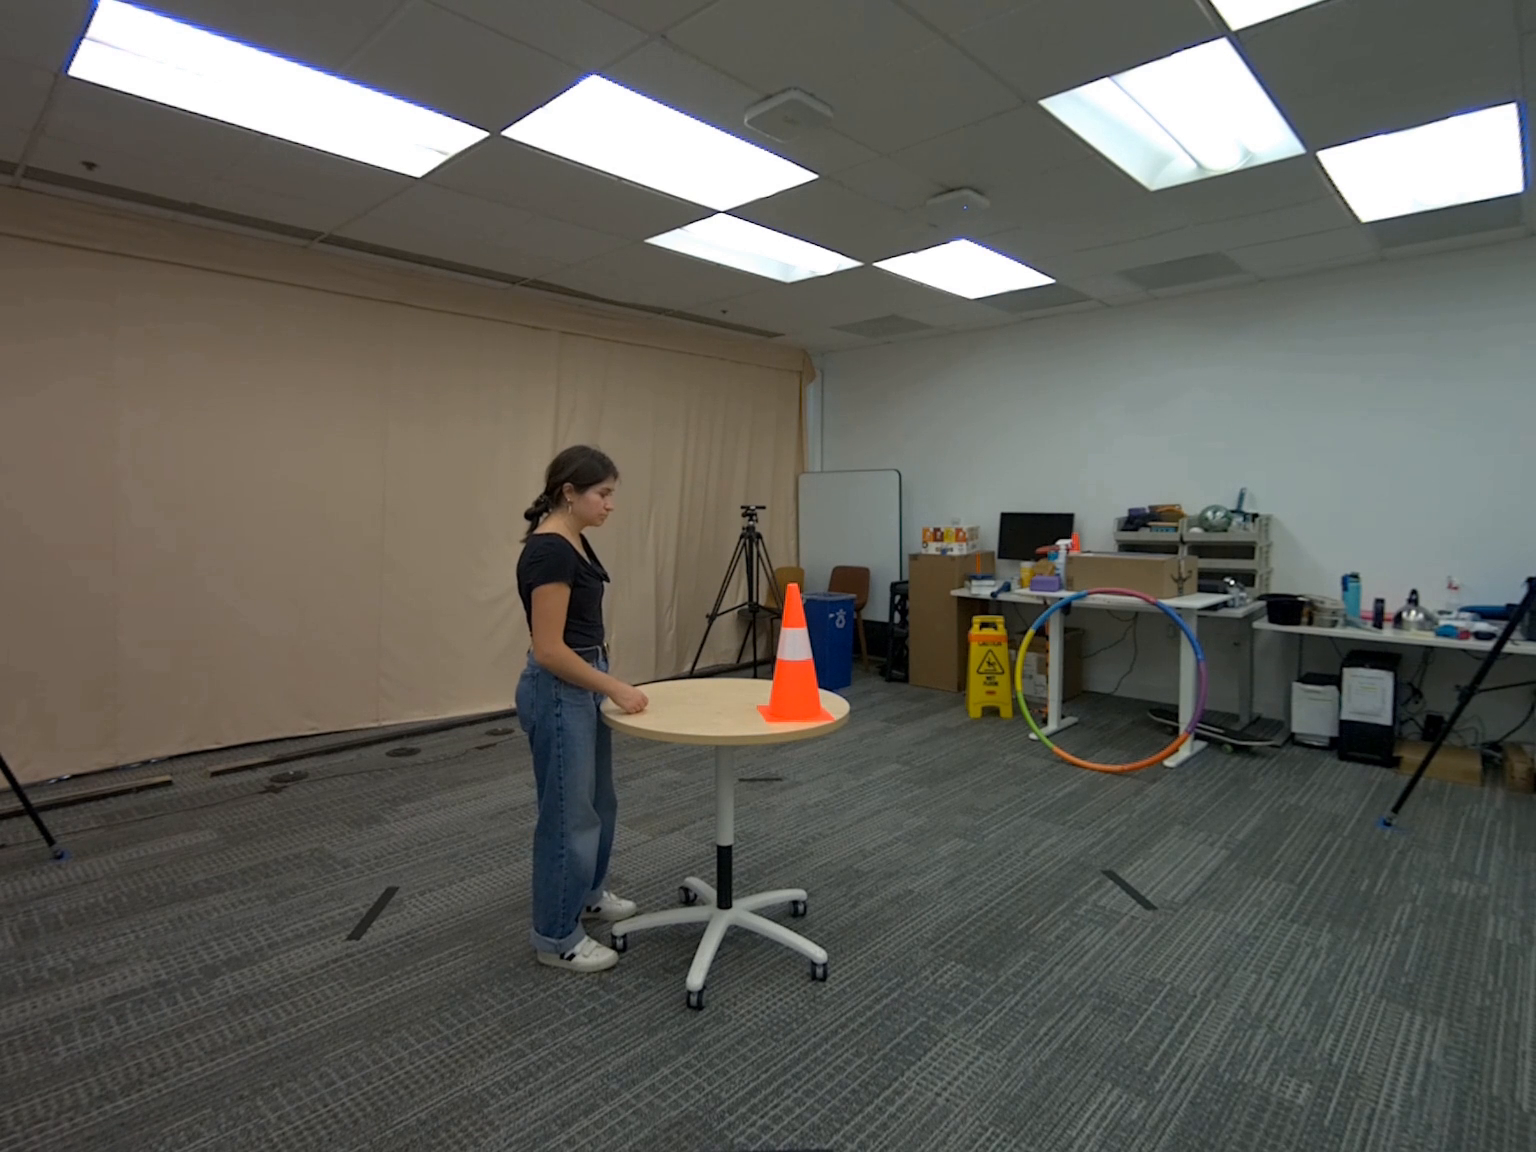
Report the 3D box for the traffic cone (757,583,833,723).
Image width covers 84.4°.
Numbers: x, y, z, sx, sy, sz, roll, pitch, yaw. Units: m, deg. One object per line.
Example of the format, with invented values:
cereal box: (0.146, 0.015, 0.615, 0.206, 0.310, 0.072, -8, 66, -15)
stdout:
traffic cone: (0.077, 0.221, 2.442, 0.203, 0.383, 0.206, -3, 3, -12)
